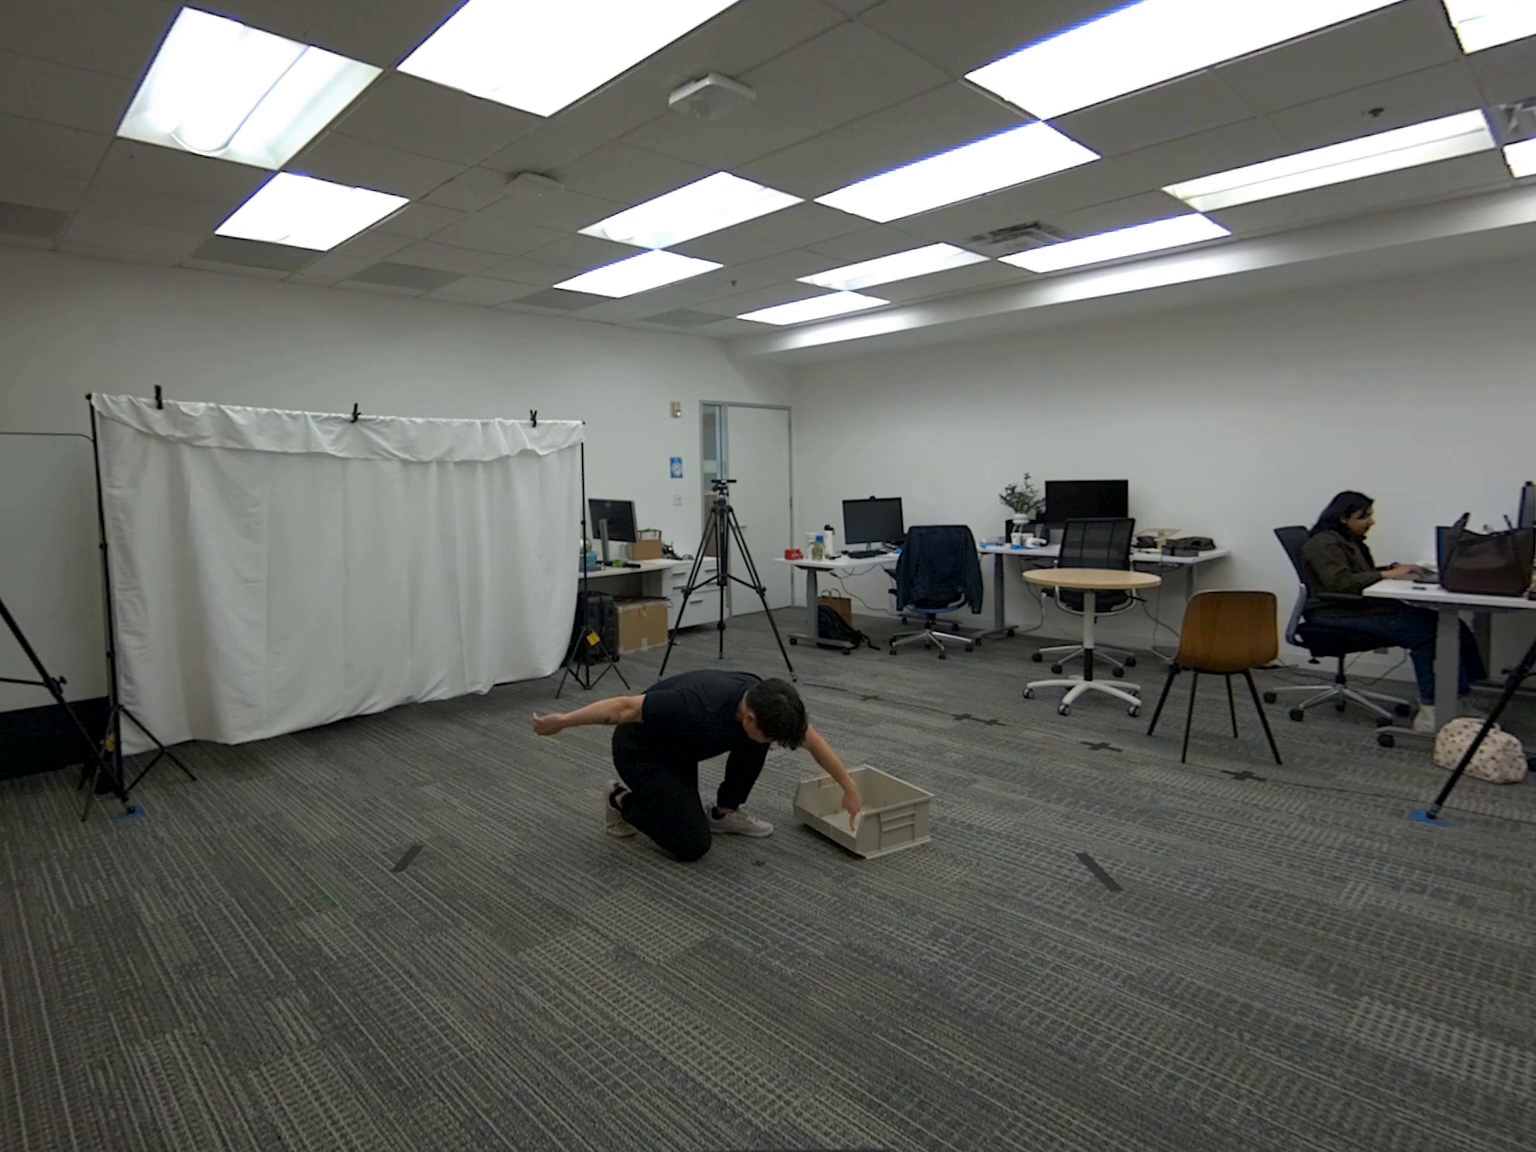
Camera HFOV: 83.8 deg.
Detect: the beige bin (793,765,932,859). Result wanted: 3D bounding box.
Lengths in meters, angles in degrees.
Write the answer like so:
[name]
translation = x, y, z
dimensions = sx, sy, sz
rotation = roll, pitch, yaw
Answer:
[beige bin]
translation = 0.363, 0.916, 3.357
dimensions = 0.368, 0.188, 0.434
rotation = -4, 6, -30
